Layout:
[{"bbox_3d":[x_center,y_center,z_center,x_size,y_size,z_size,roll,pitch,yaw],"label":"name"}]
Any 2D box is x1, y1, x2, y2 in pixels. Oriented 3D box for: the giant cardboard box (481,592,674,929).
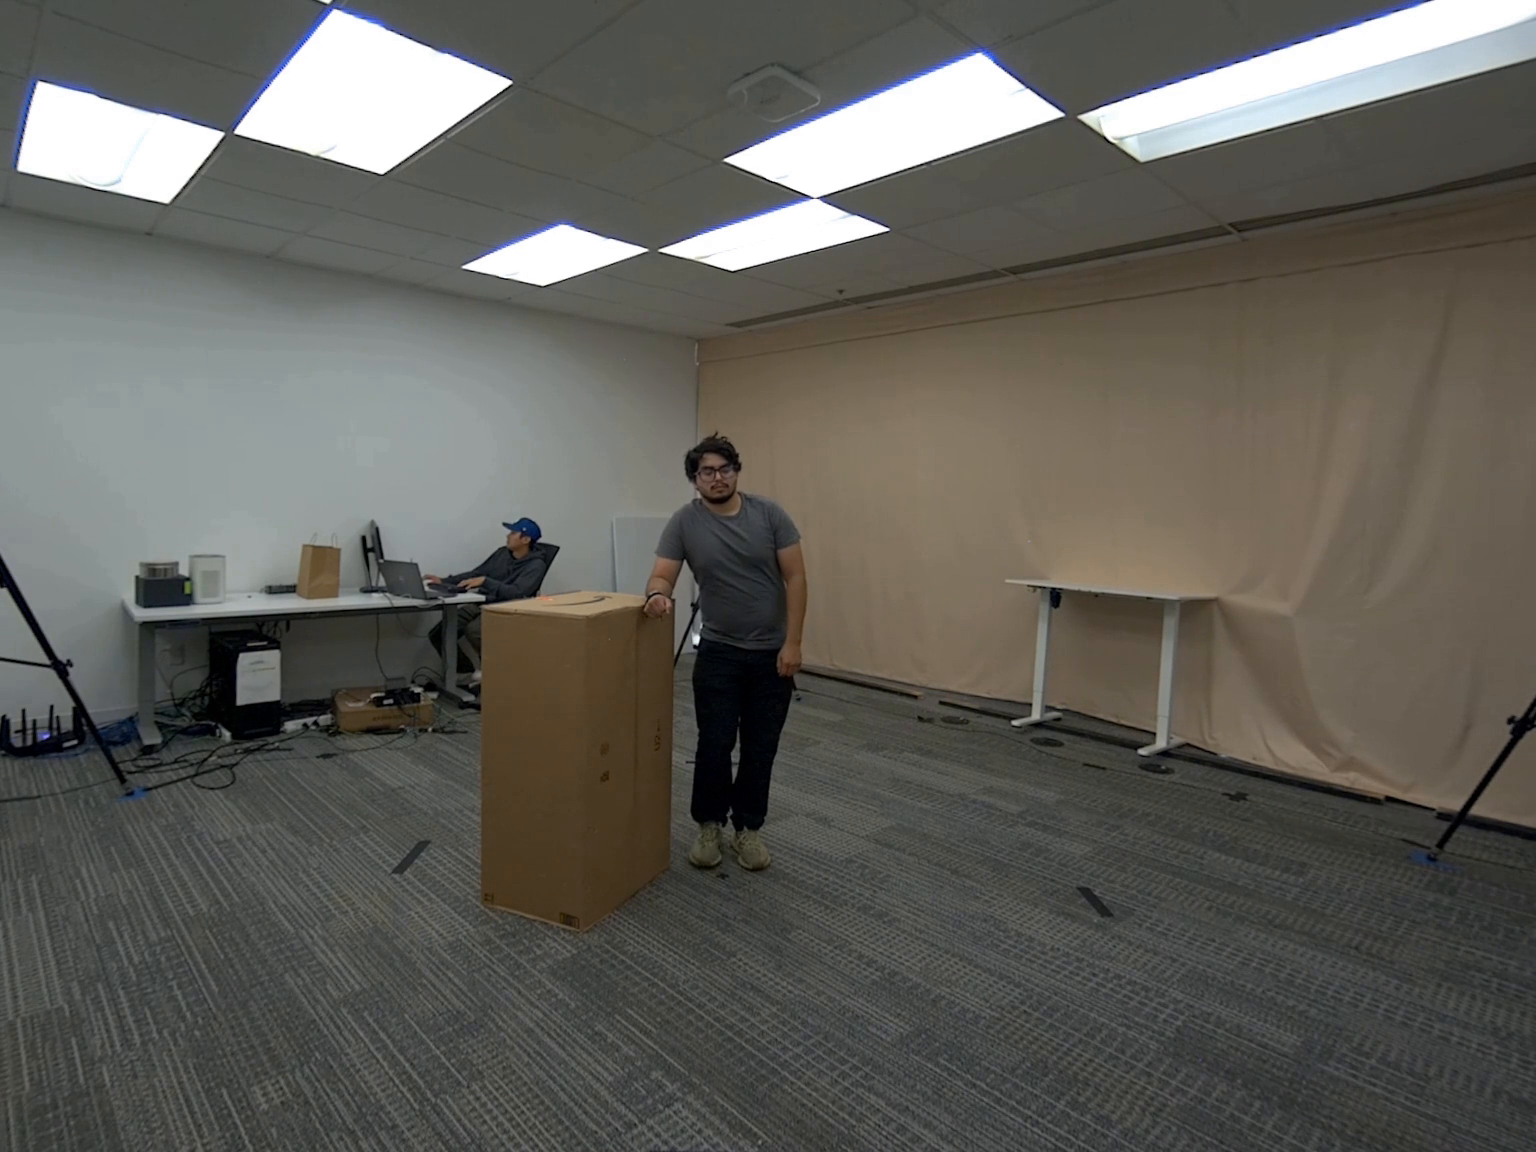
[{"bbox_3d":[-0.670,0.599,2.984,0.434,1.023,0.568,3,4,25],"label":"giant cardboard box"}]
